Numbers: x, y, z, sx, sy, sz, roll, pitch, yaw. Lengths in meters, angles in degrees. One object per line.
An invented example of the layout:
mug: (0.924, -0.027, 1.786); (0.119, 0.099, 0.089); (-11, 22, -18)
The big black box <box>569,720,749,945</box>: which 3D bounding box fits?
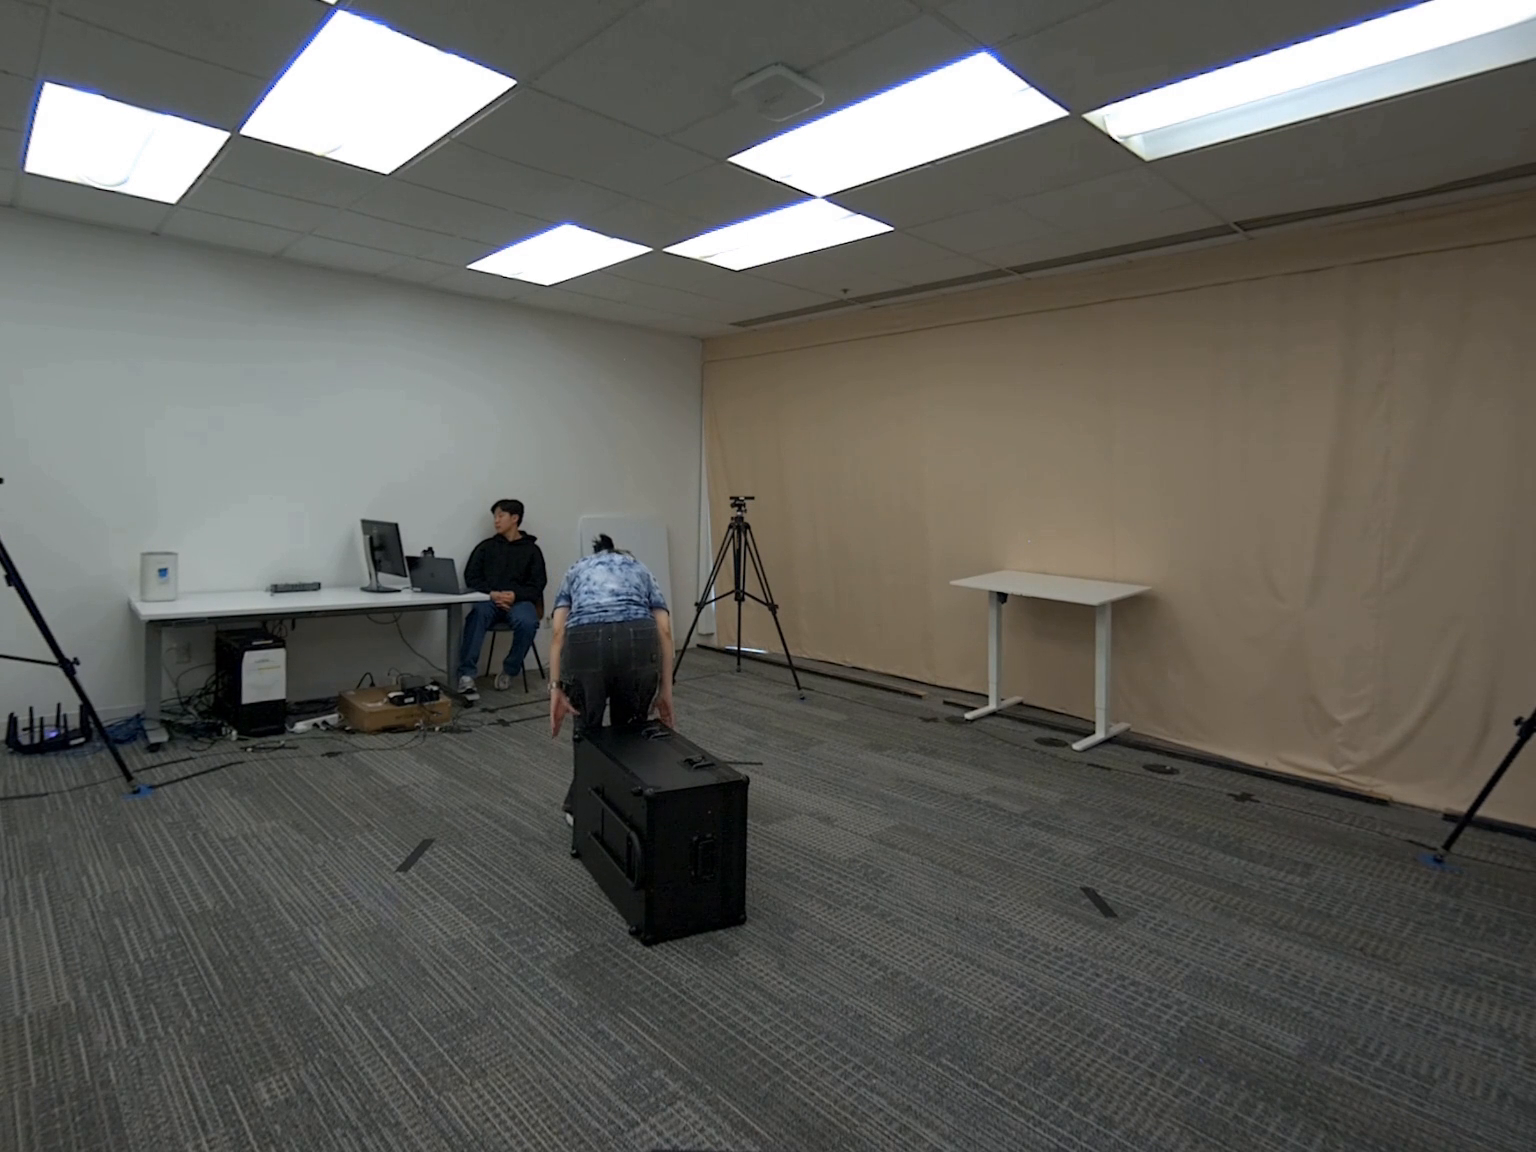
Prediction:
big black box: (-0.438, 0.864, 3.015); (0.389, 0.520, 0.880); (0, 4, -28)
